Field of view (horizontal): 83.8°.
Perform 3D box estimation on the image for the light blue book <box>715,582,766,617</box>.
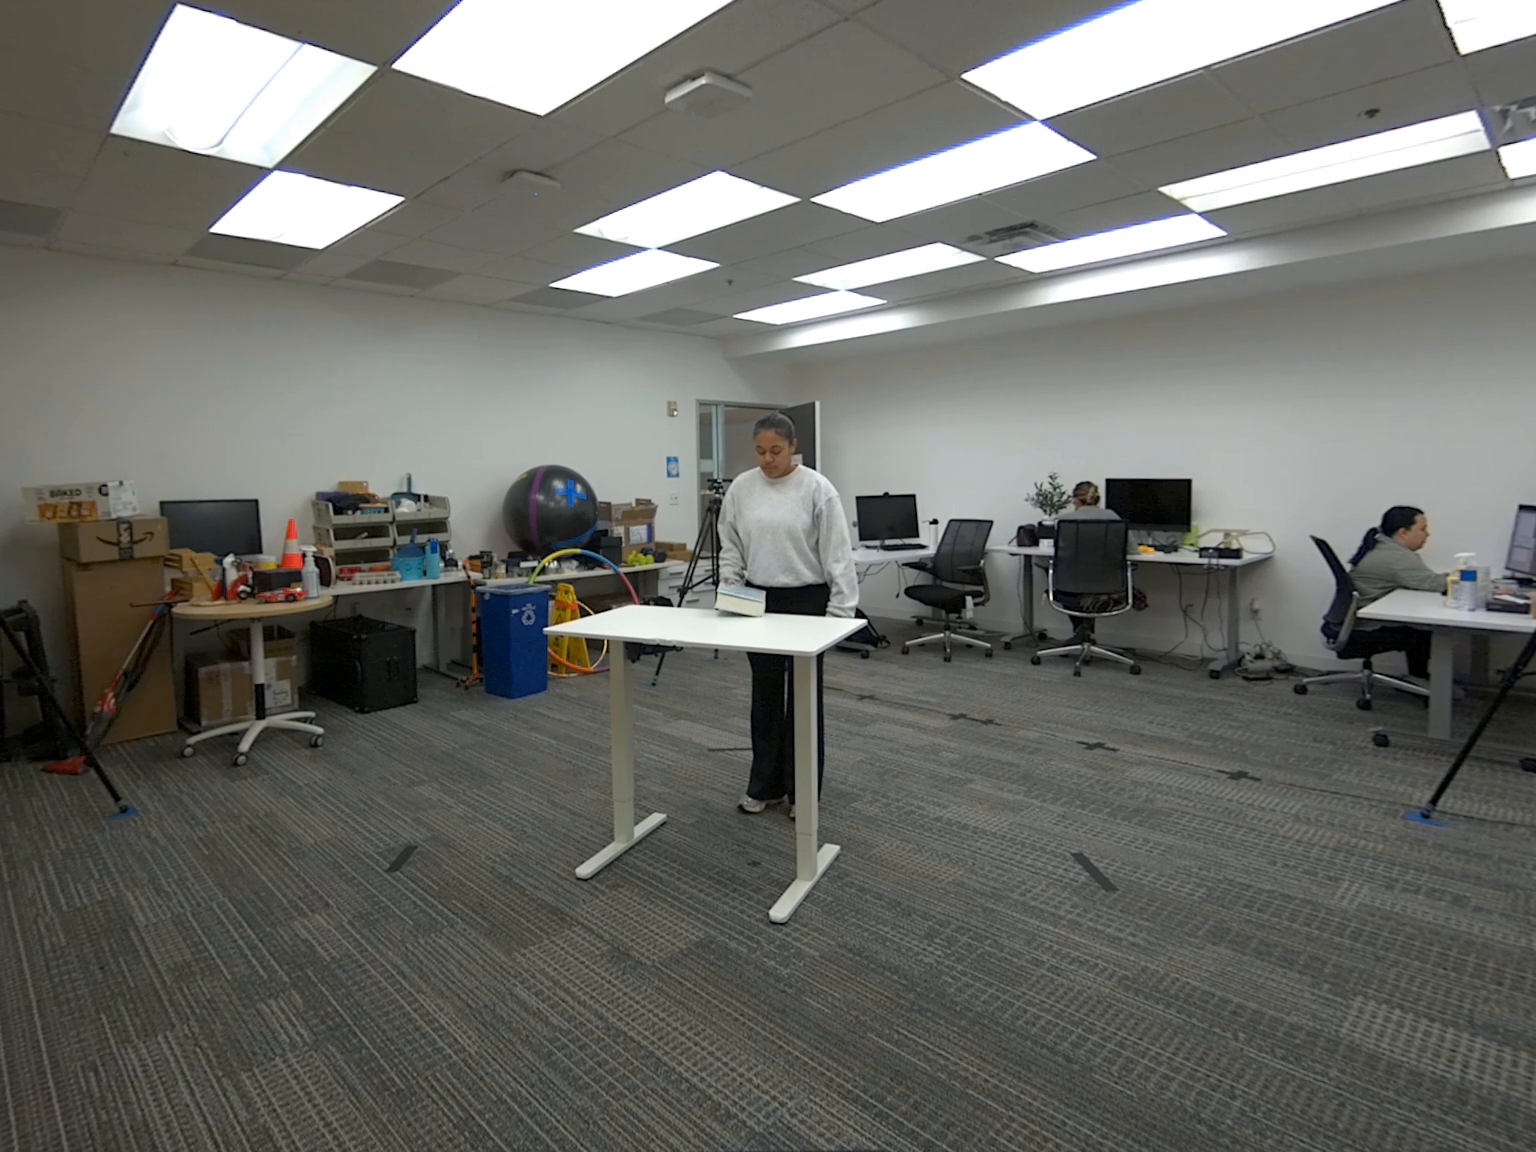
[{"bbox_3d":[-0.098,0.086,3.306,0.191,0.059,0.263,11,7,-3],"label":"light blue book"}]
